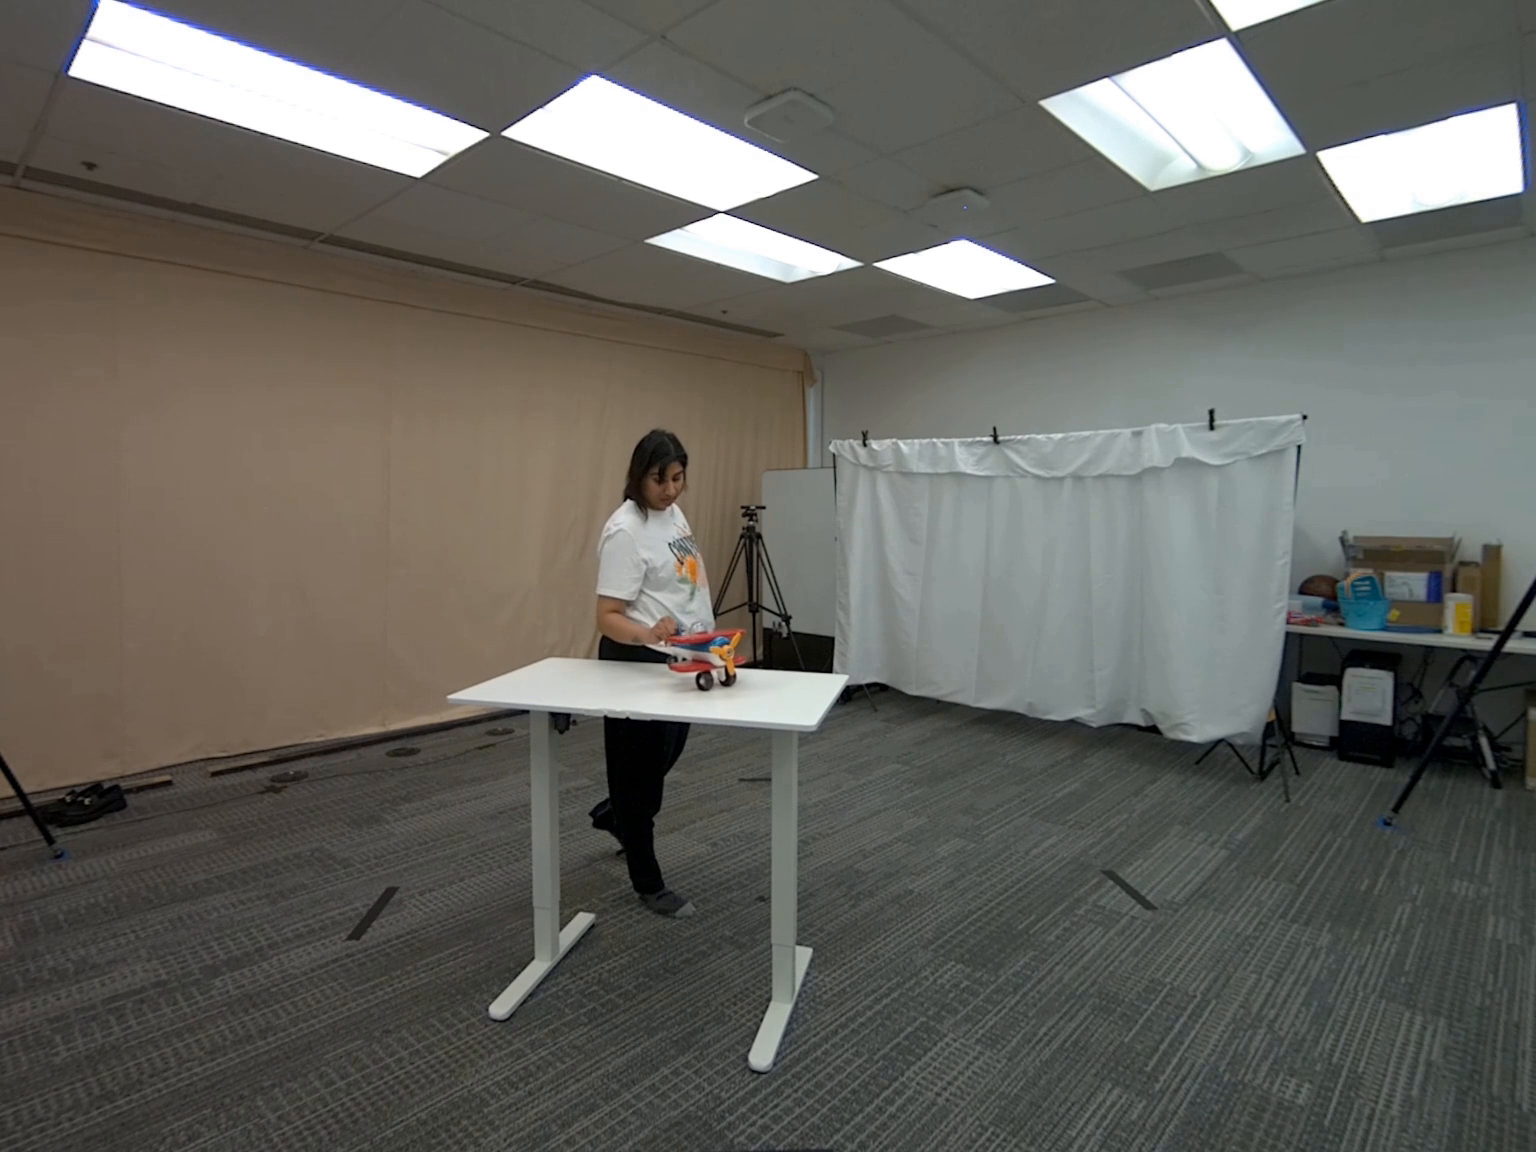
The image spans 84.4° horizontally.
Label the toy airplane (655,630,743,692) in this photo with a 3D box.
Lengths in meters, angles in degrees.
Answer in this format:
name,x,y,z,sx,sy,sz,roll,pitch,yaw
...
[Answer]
name,x,y,z,sx,sy,sz,roll,pitch,yaw
toy airplane,-0.199,0.224,2.398,0.265,0.155,0.247,12,14,17
